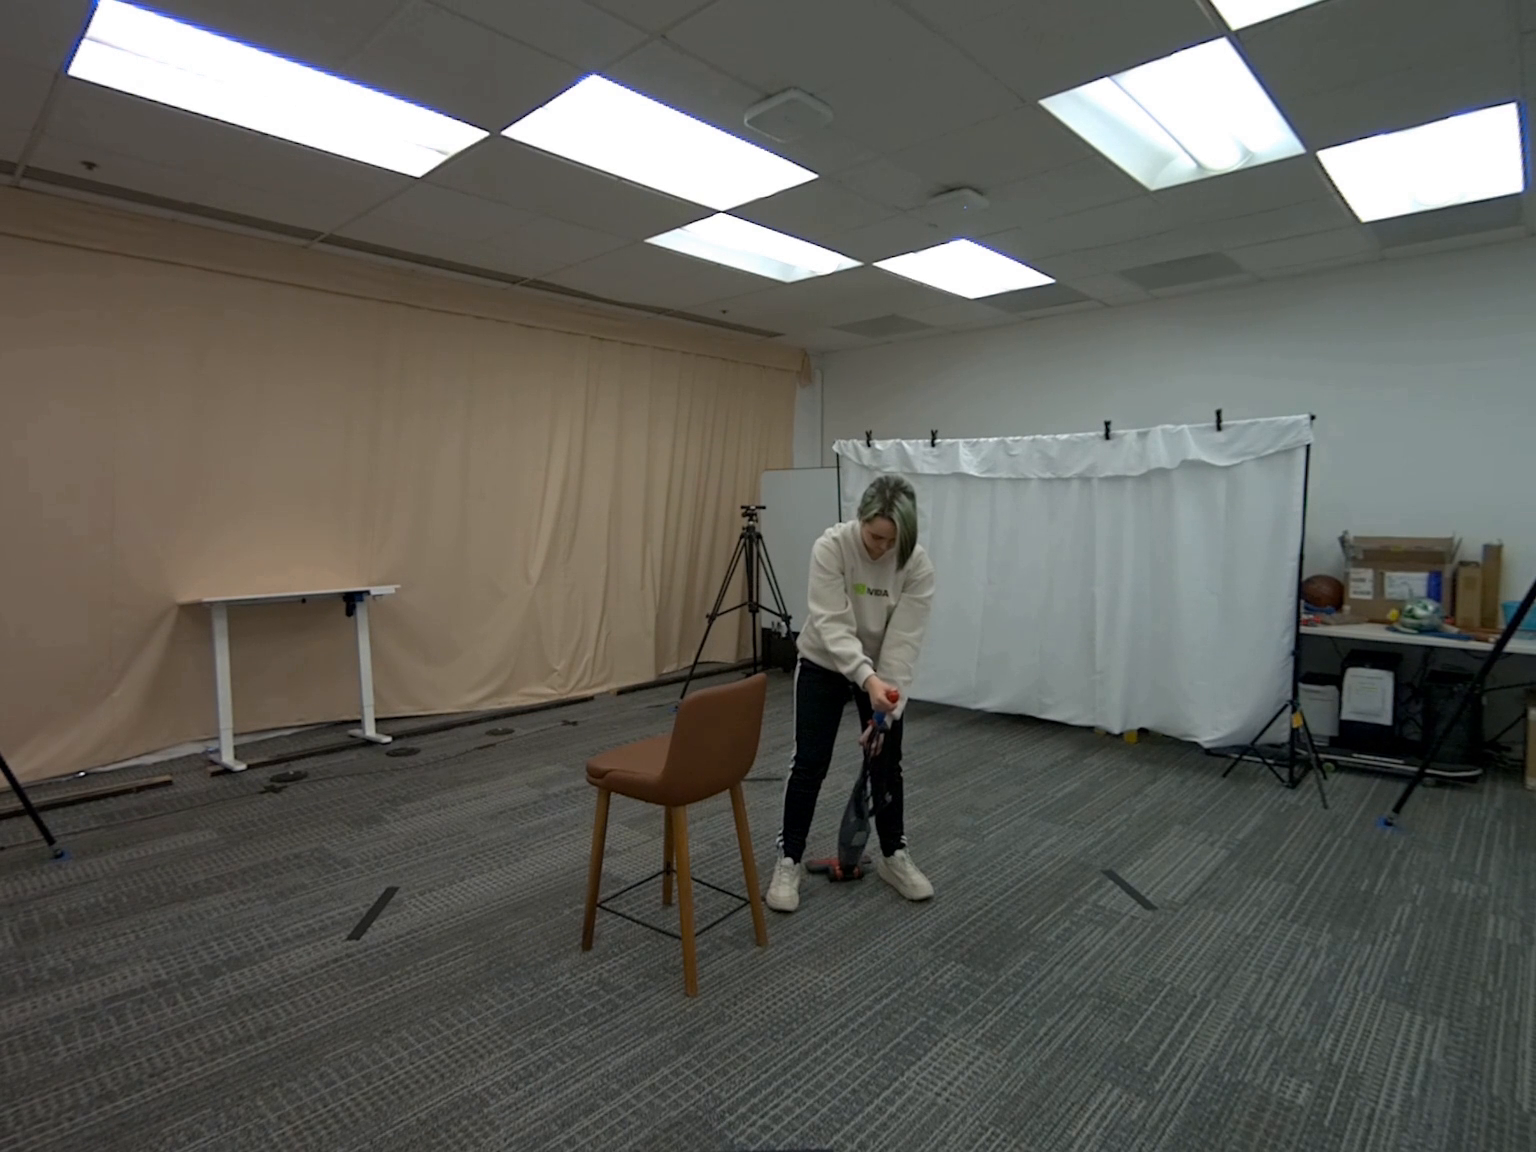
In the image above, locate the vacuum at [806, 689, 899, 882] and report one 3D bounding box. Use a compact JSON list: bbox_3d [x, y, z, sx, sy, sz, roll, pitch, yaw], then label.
[{"bbox_3d":[0.328,0.729,2.816,0.250,1.034,0.148,-3,44,-12],"label":"vacuum"}]
